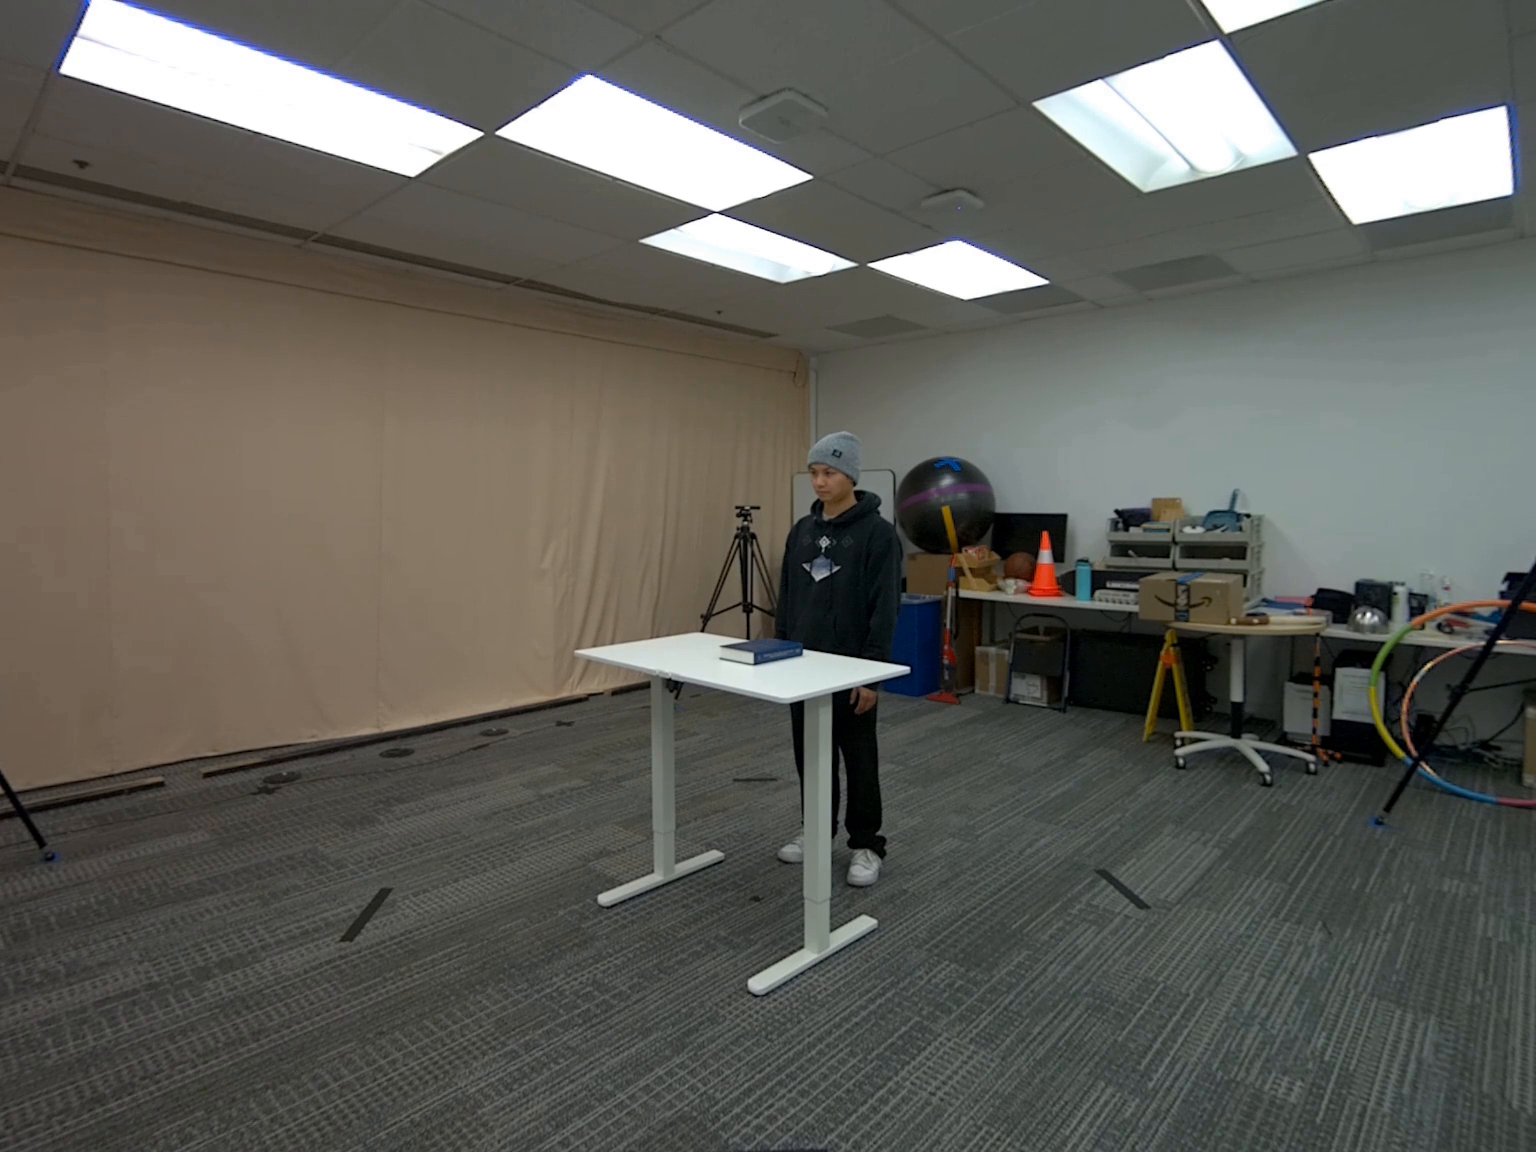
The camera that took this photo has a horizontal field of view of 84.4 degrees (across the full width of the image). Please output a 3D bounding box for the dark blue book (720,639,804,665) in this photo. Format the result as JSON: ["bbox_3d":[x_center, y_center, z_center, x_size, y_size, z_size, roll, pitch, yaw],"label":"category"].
[{"bbox_3d":[-0.025,0.257,2.832,0.169,0.045,0.238,5,7,45],"label":"dark blue book"}]
